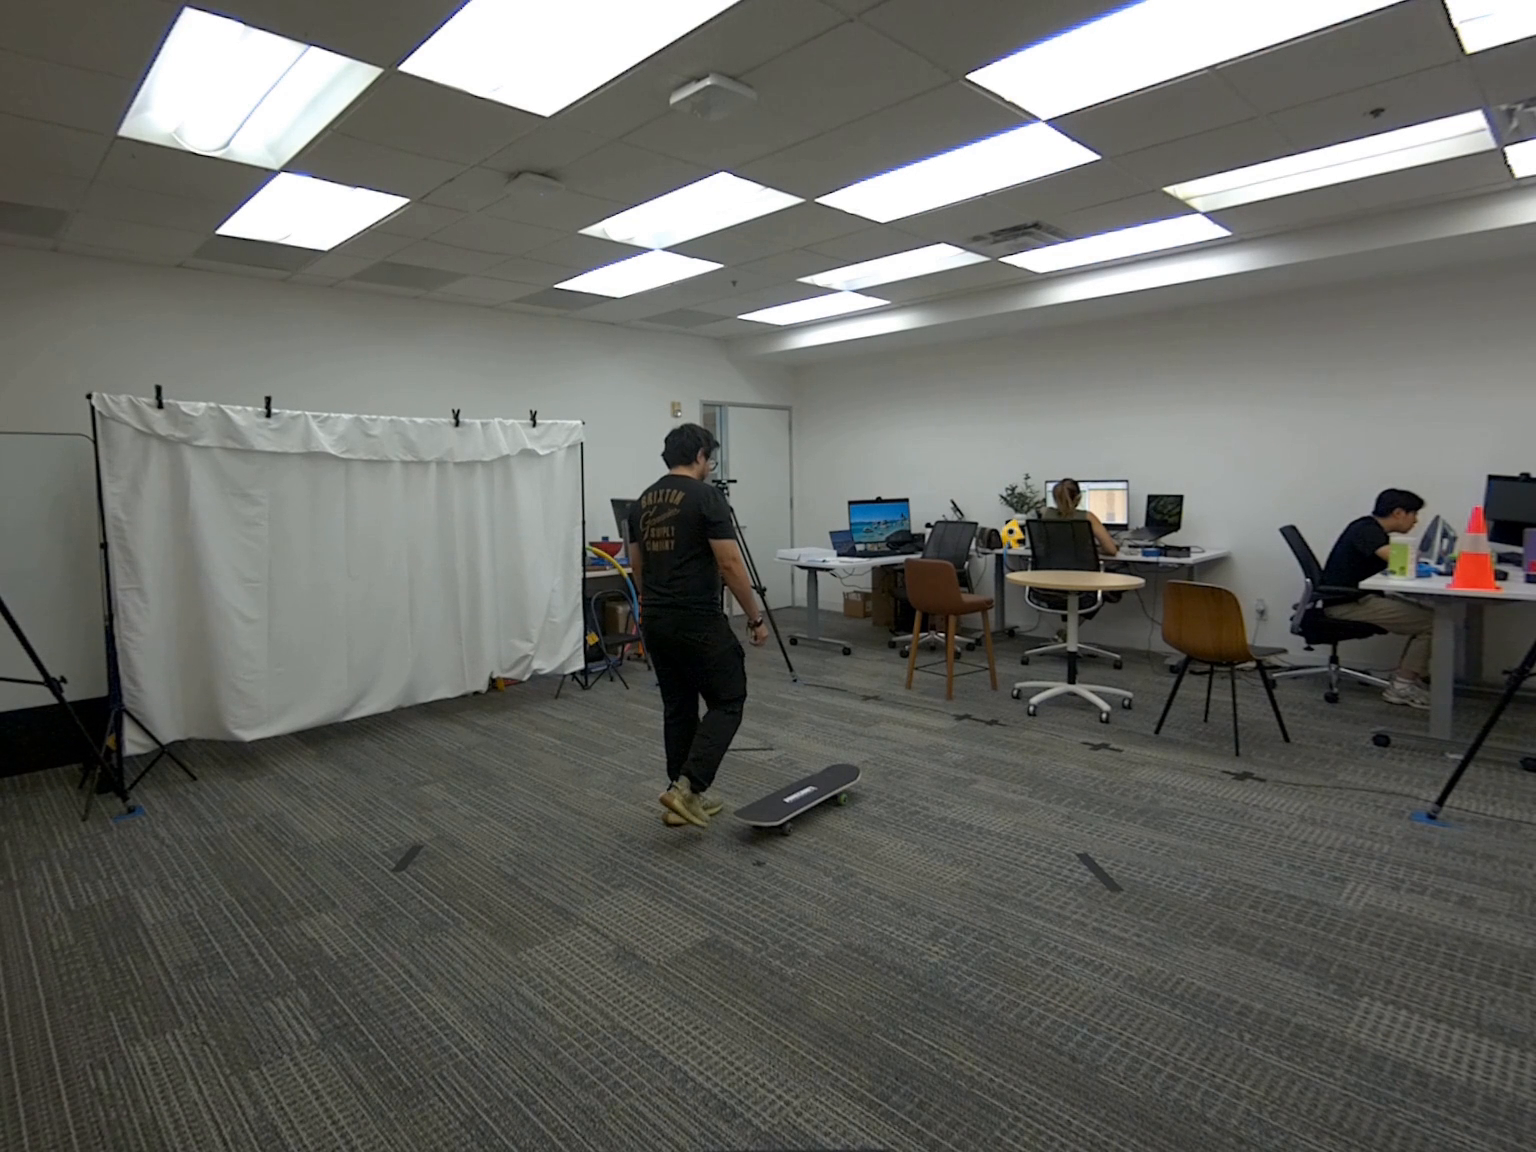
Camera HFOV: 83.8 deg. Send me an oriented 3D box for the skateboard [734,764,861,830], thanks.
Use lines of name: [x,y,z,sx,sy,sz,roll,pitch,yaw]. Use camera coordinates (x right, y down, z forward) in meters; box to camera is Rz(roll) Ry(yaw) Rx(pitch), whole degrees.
skateboard: [0.137,0.936,3.552,0.199,0.110,0.766,5,9,38]
